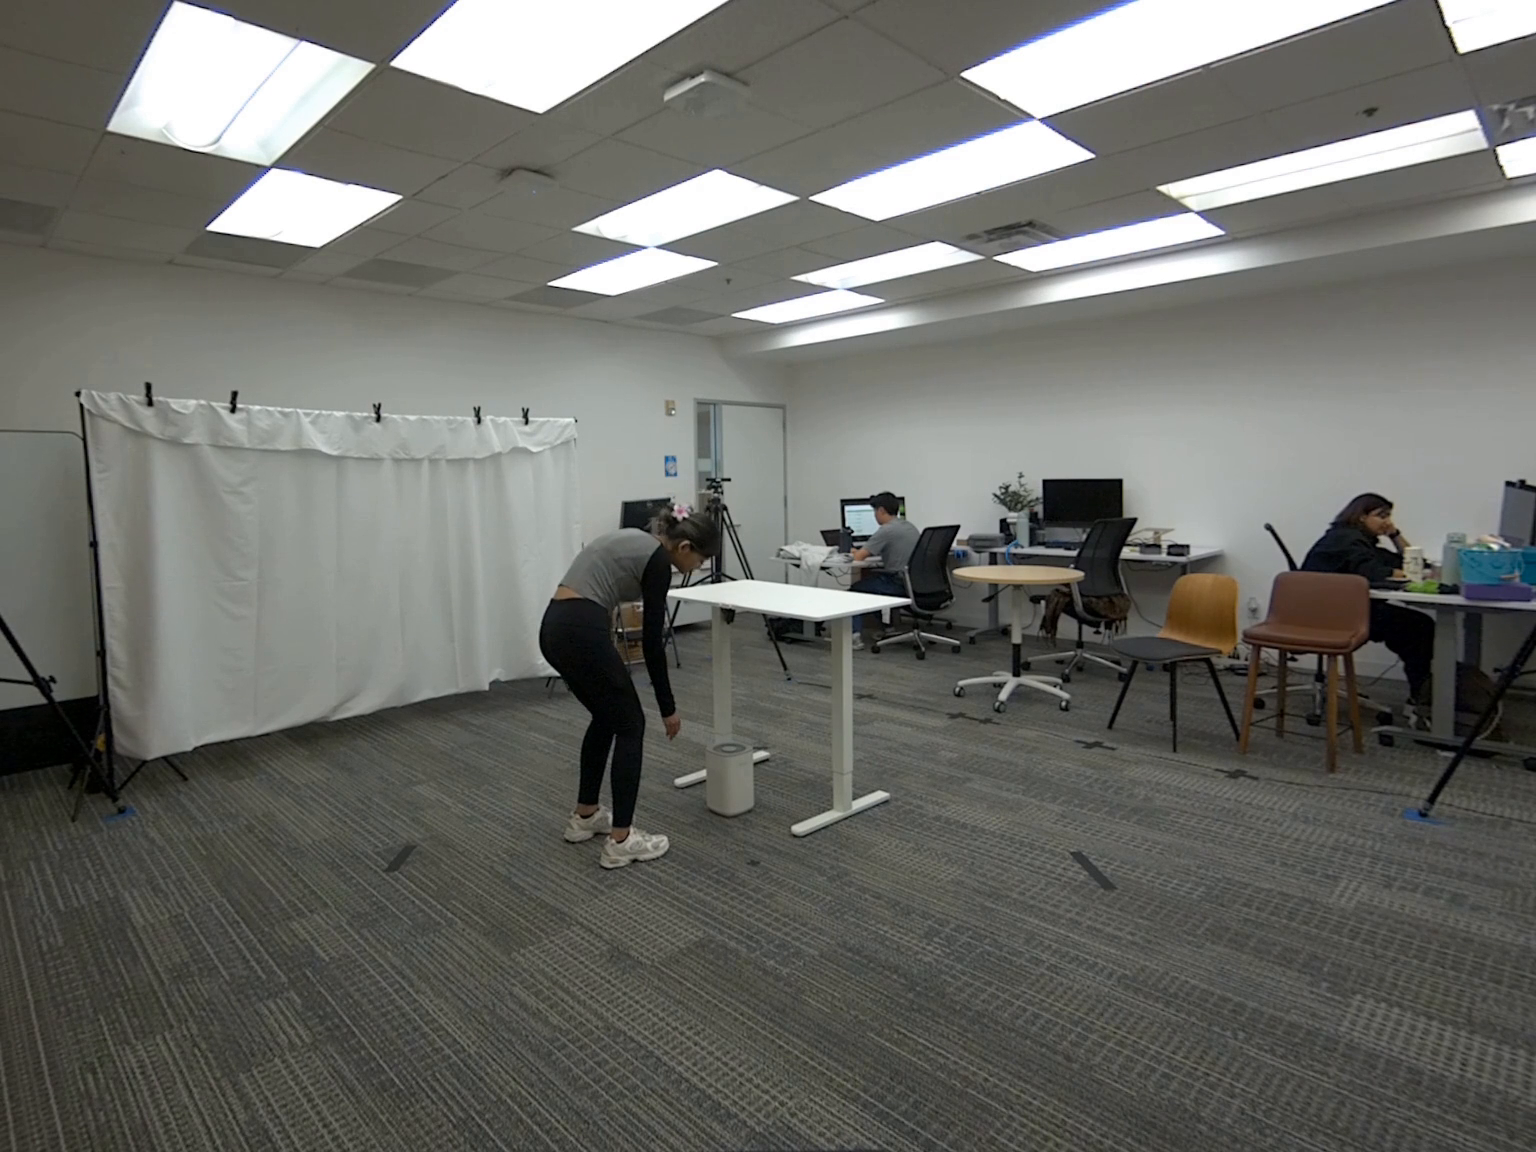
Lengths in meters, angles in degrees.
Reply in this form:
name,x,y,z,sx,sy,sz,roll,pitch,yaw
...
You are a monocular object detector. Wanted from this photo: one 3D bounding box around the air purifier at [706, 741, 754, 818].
name,x,y,z,sx,sy,sz,roll,pitch,yaw
air purifier,-0.166,0.853,3.602,0.177,0.264,0.166,3,6,44
